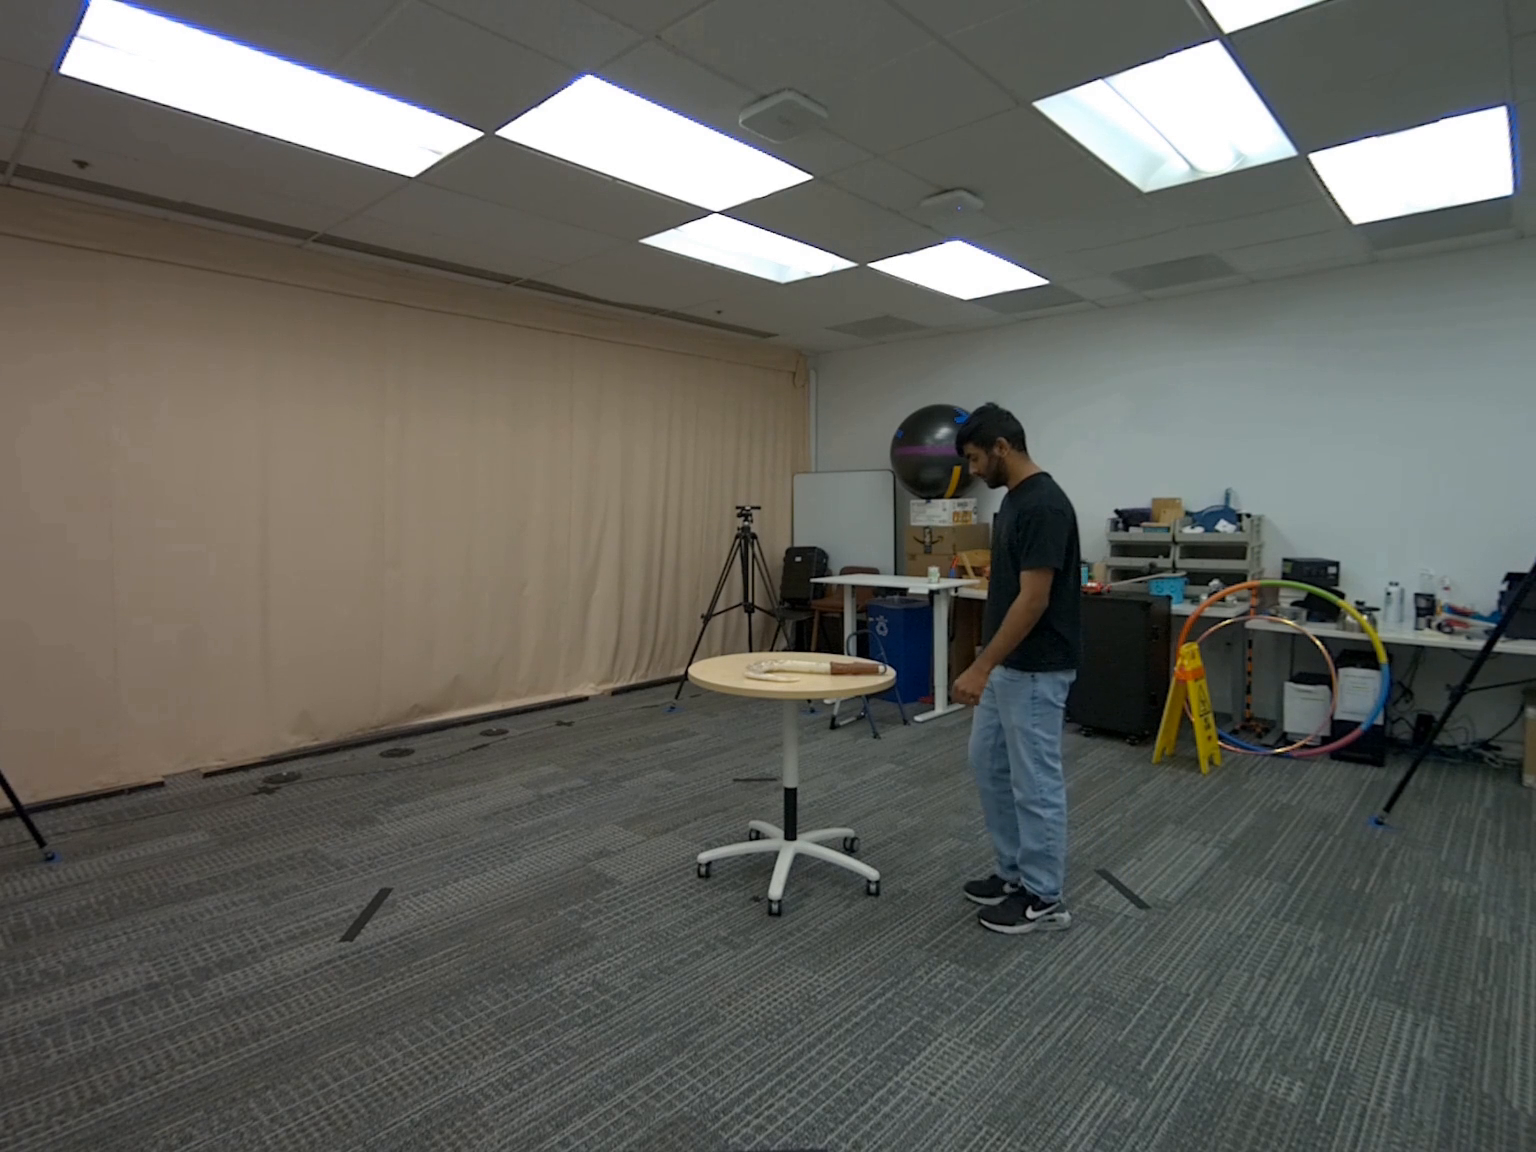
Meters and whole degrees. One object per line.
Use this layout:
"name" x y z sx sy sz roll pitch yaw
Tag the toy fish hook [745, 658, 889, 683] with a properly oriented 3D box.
"toy fish hook" 0.184 0.348 2.993 0.509 0.048 0.225 -1 12 5
